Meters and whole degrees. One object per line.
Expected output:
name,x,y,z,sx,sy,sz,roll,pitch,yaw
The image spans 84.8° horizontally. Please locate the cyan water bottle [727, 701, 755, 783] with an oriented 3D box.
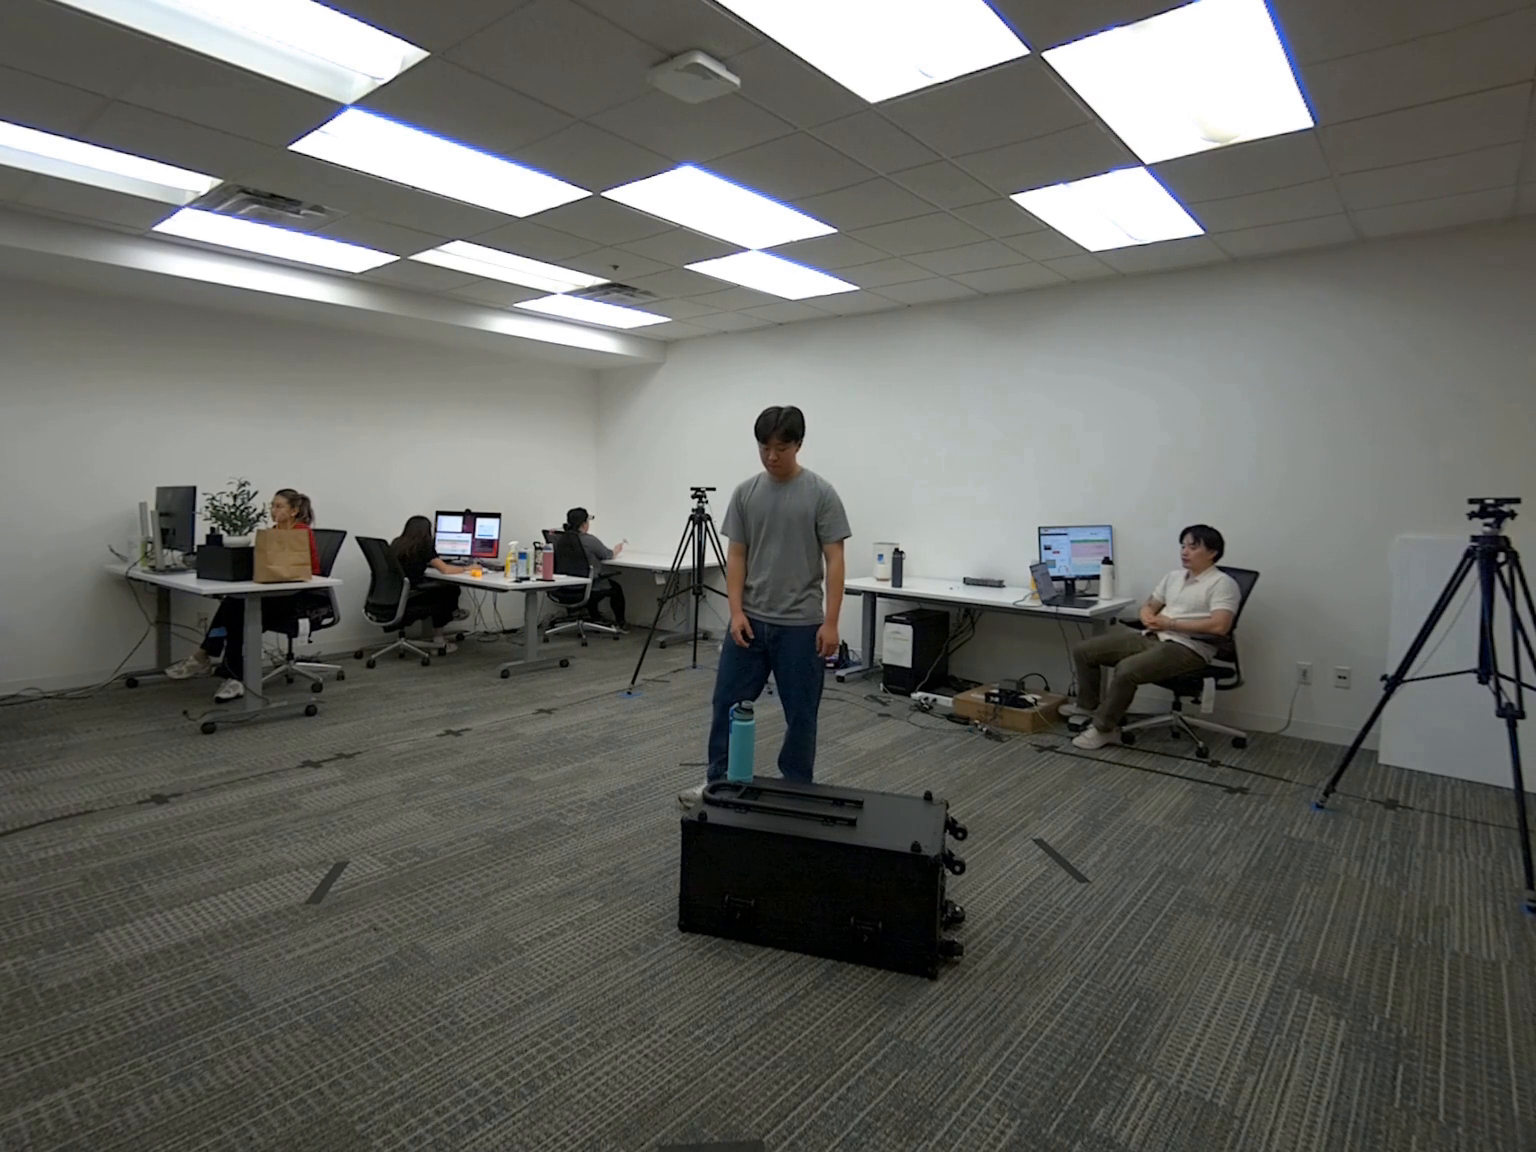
cyan water bottle,-0.104,0.579,2.983,0.092,0.282,0.093,2,6,-2
